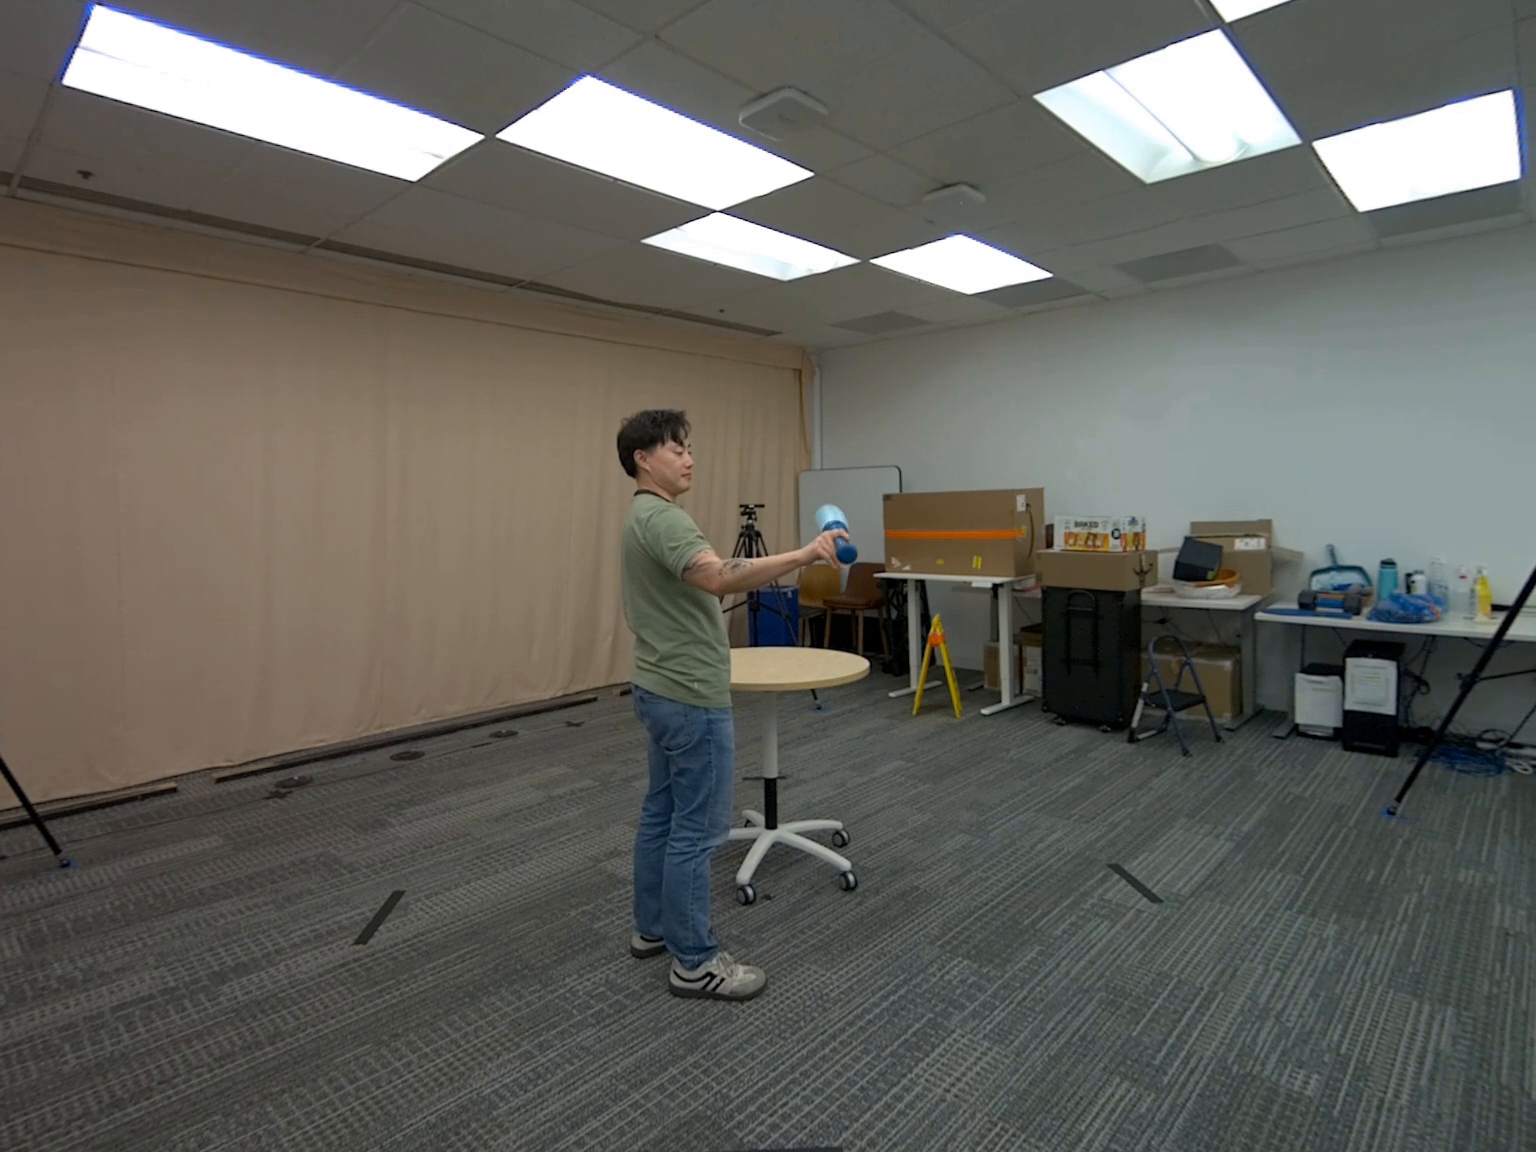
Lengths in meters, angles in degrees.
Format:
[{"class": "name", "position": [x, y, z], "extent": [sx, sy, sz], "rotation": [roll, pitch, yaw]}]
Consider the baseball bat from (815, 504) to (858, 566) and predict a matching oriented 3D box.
[{"class": "baseball bat", "position": [0.187, -0.100, 2.189], "extent": [0.089, 0.088, 0.546], "rotation": [-1, 13, 0]}]
